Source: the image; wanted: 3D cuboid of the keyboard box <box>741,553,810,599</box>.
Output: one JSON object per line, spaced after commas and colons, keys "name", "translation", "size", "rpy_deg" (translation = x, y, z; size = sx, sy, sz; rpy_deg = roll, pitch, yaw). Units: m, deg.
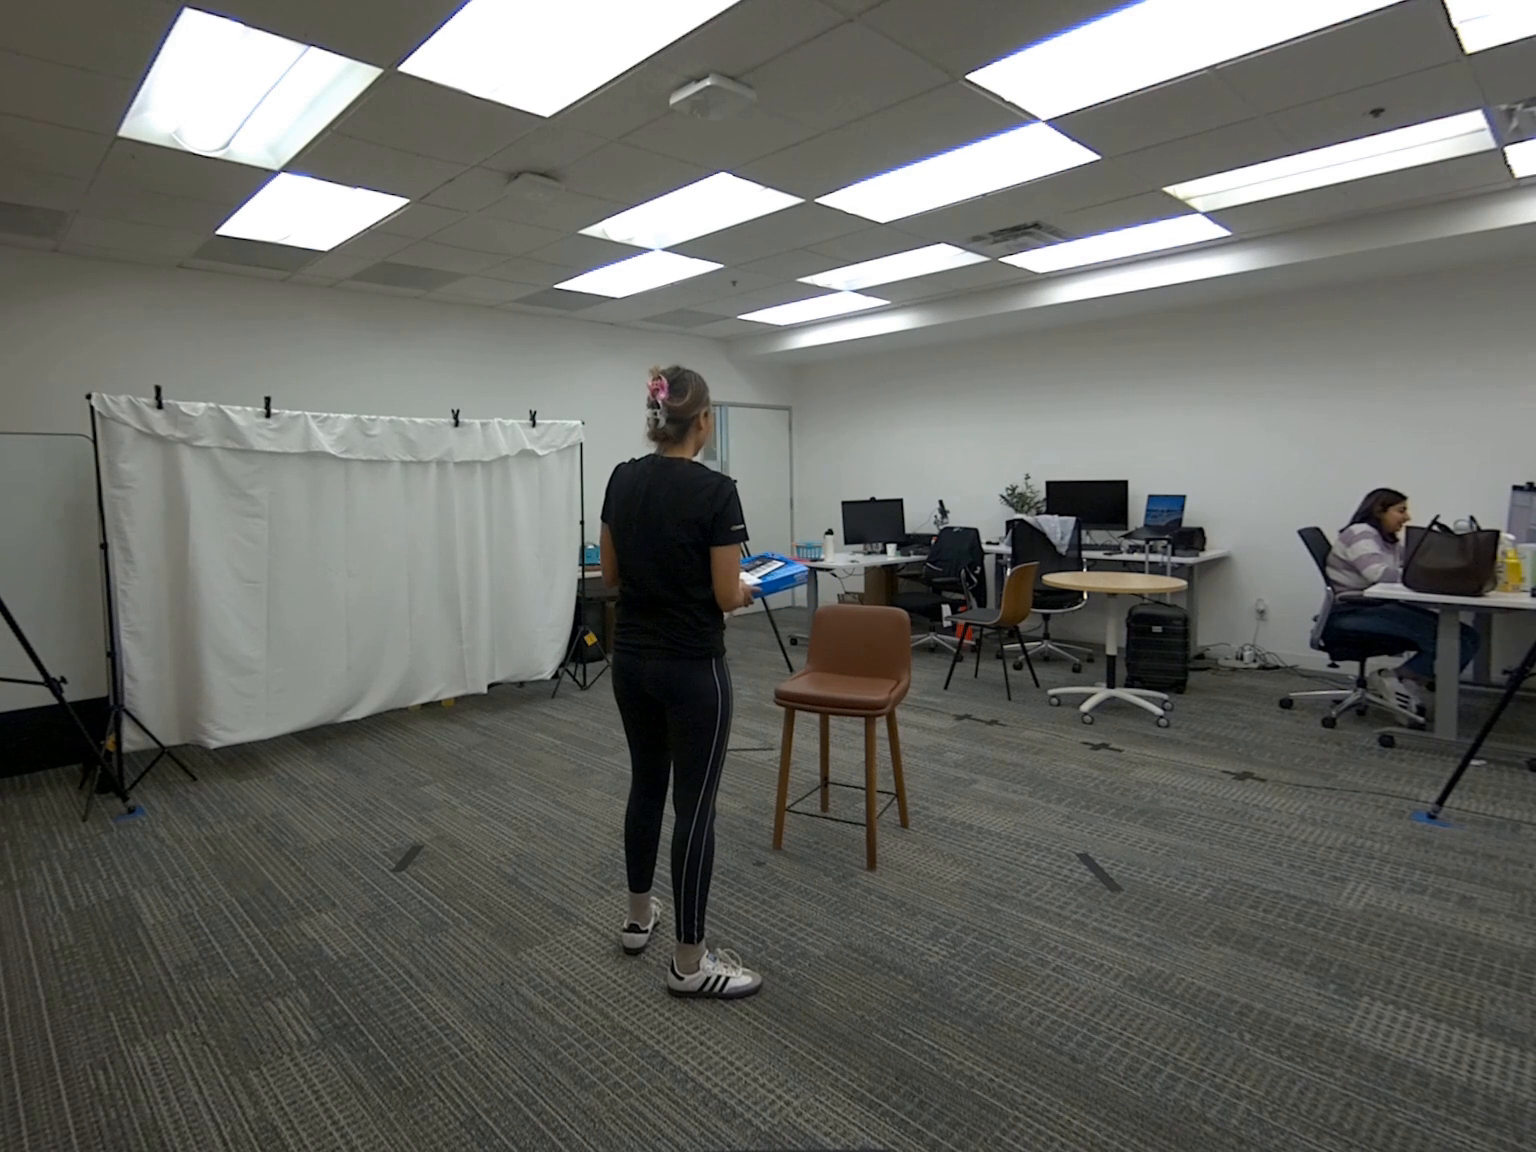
{"name": "keyboard box", "translation": [-0.069, 0.013, 2.814], "size": [0.182, 0.058, 0.427], "rpy_deg": [25, 27, 37]}
